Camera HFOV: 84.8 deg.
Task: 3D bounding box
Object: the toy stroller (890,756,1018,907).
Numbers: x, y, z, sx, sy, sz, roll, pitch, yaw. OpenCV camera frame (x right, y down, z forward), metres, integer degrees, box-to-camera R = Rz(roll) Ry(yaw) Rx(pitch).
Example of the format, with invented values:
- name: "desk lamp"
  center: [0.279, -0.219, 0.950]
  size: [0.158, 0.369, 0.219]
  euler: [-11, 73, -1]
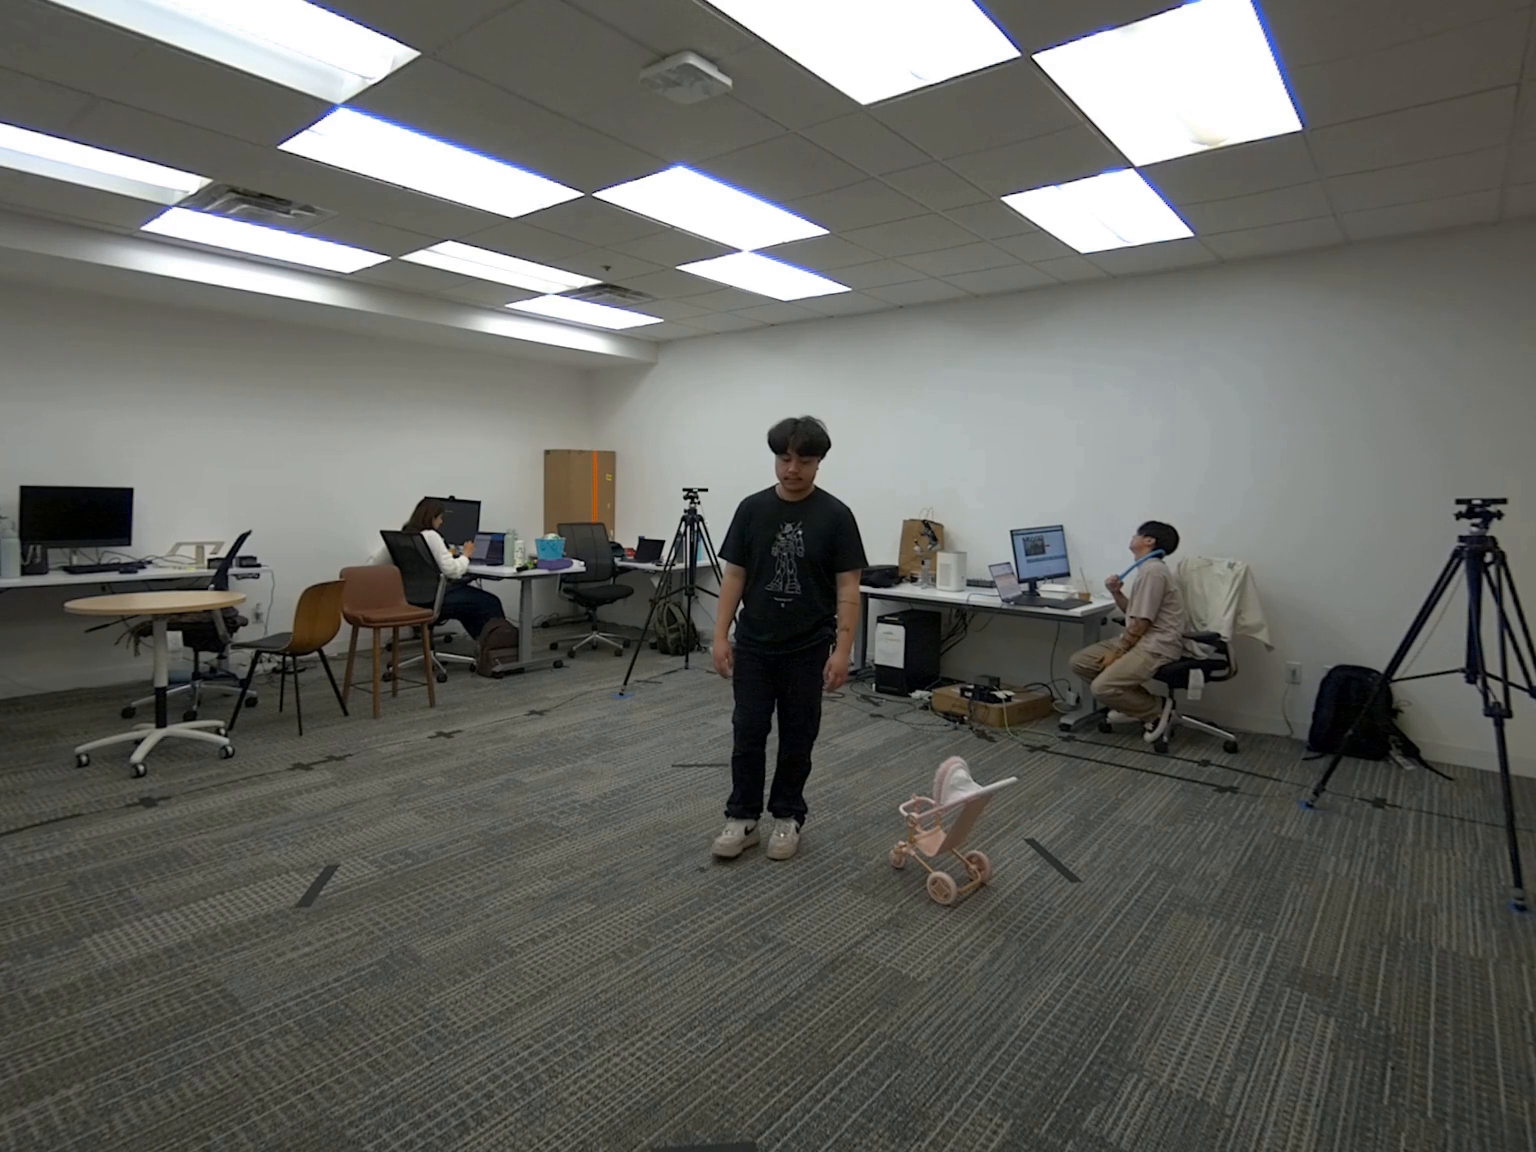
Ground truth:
- name: "toy stroller"
  center: [0.625, 0.873, 3.019]
  size: [0.273, 0.529, 0.356]
  euler: [-1, 20, -43]
